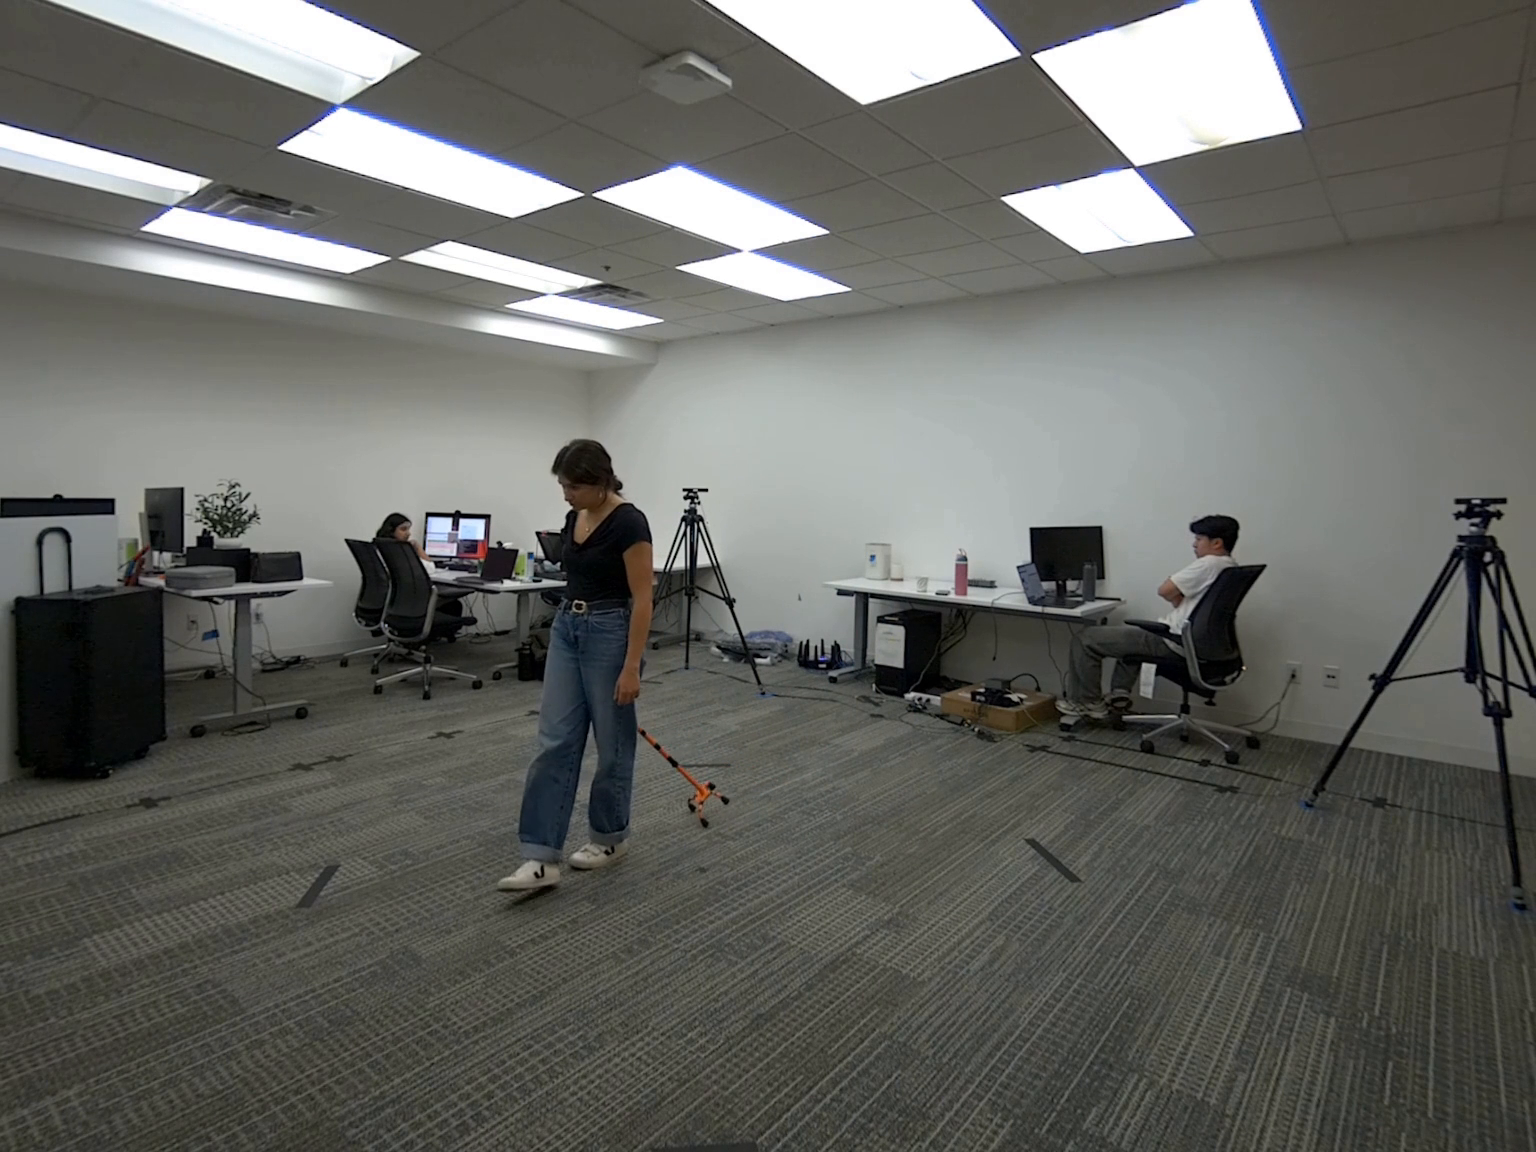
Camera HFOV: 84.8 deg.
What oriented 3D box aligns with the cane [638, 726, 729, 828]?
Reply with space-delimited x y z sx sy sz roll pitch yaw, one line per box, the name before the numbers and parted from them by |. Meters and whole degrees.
cane | -0.523 0.644 3.490 0.151 0.890 0.211 -44 15 -11
